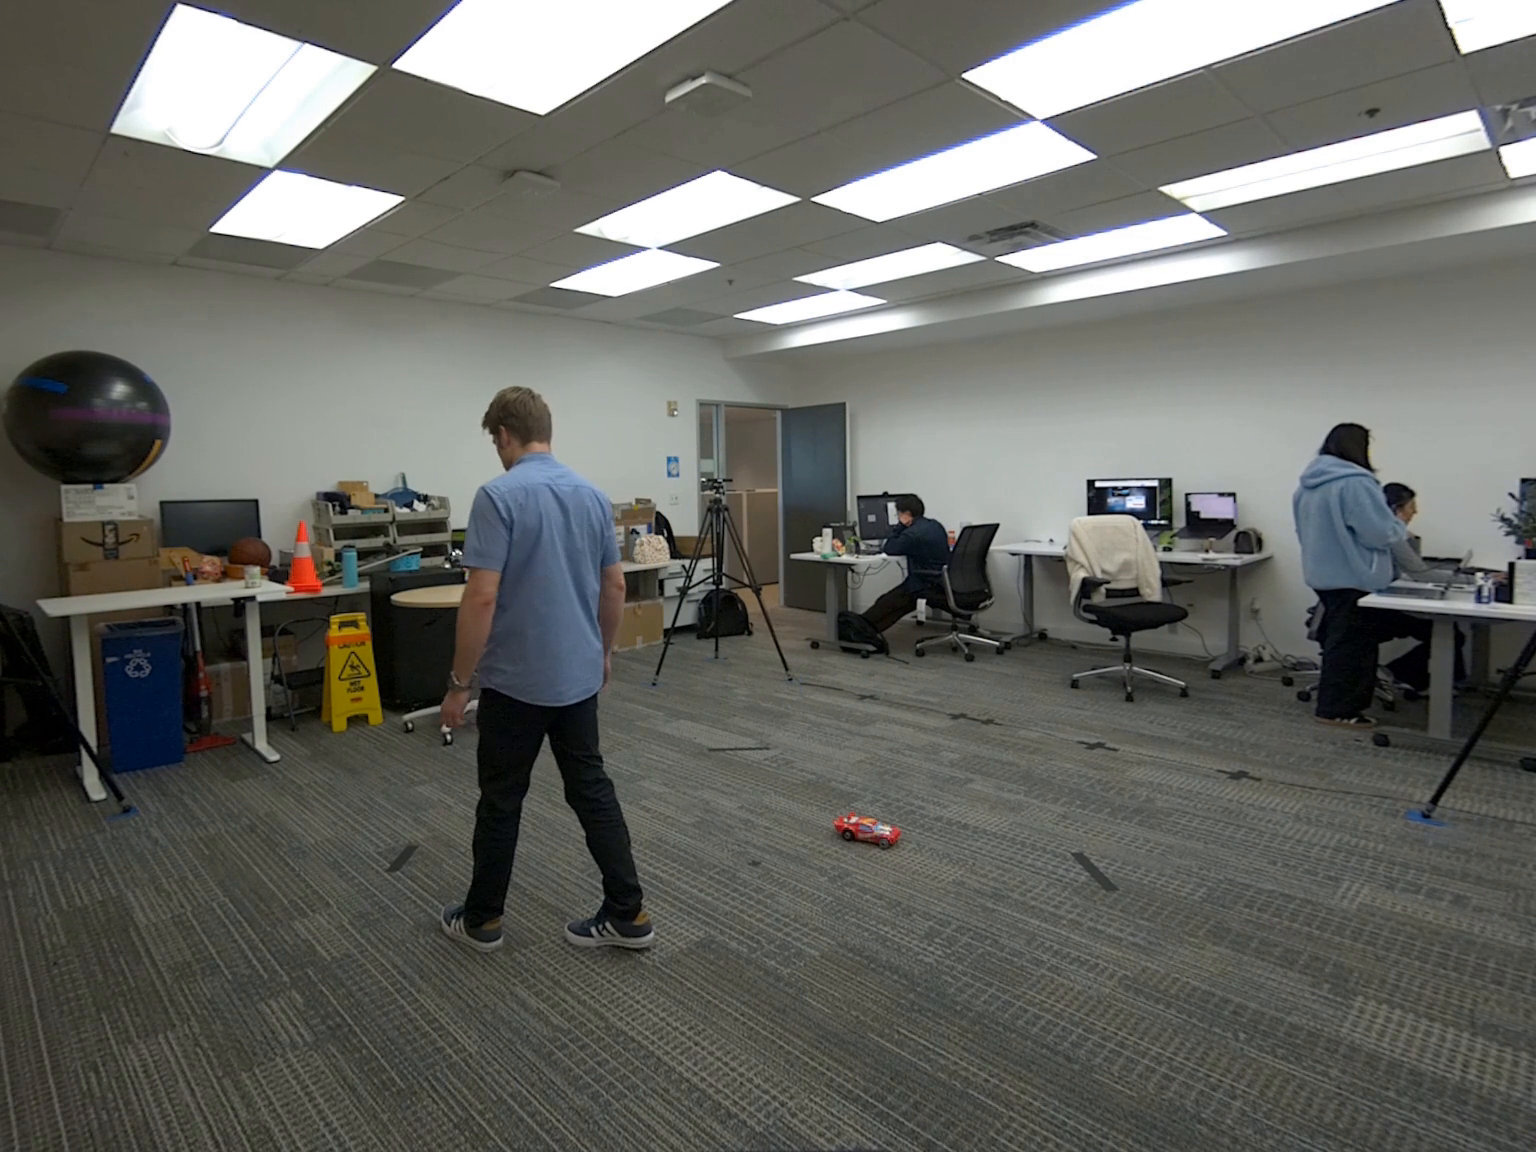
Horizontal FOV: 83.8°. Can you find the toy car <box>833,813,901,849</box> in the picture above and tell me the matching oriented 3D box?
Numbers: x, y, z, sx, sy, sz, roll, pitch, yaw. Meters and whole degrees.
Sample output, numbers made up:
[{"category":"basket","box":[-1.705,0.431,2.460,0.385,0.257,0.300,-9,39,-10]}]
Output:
[{"category":"toy car","box":[0.380,0.983,3.301,0.262,0.082,0.127,16,13,30]}]
